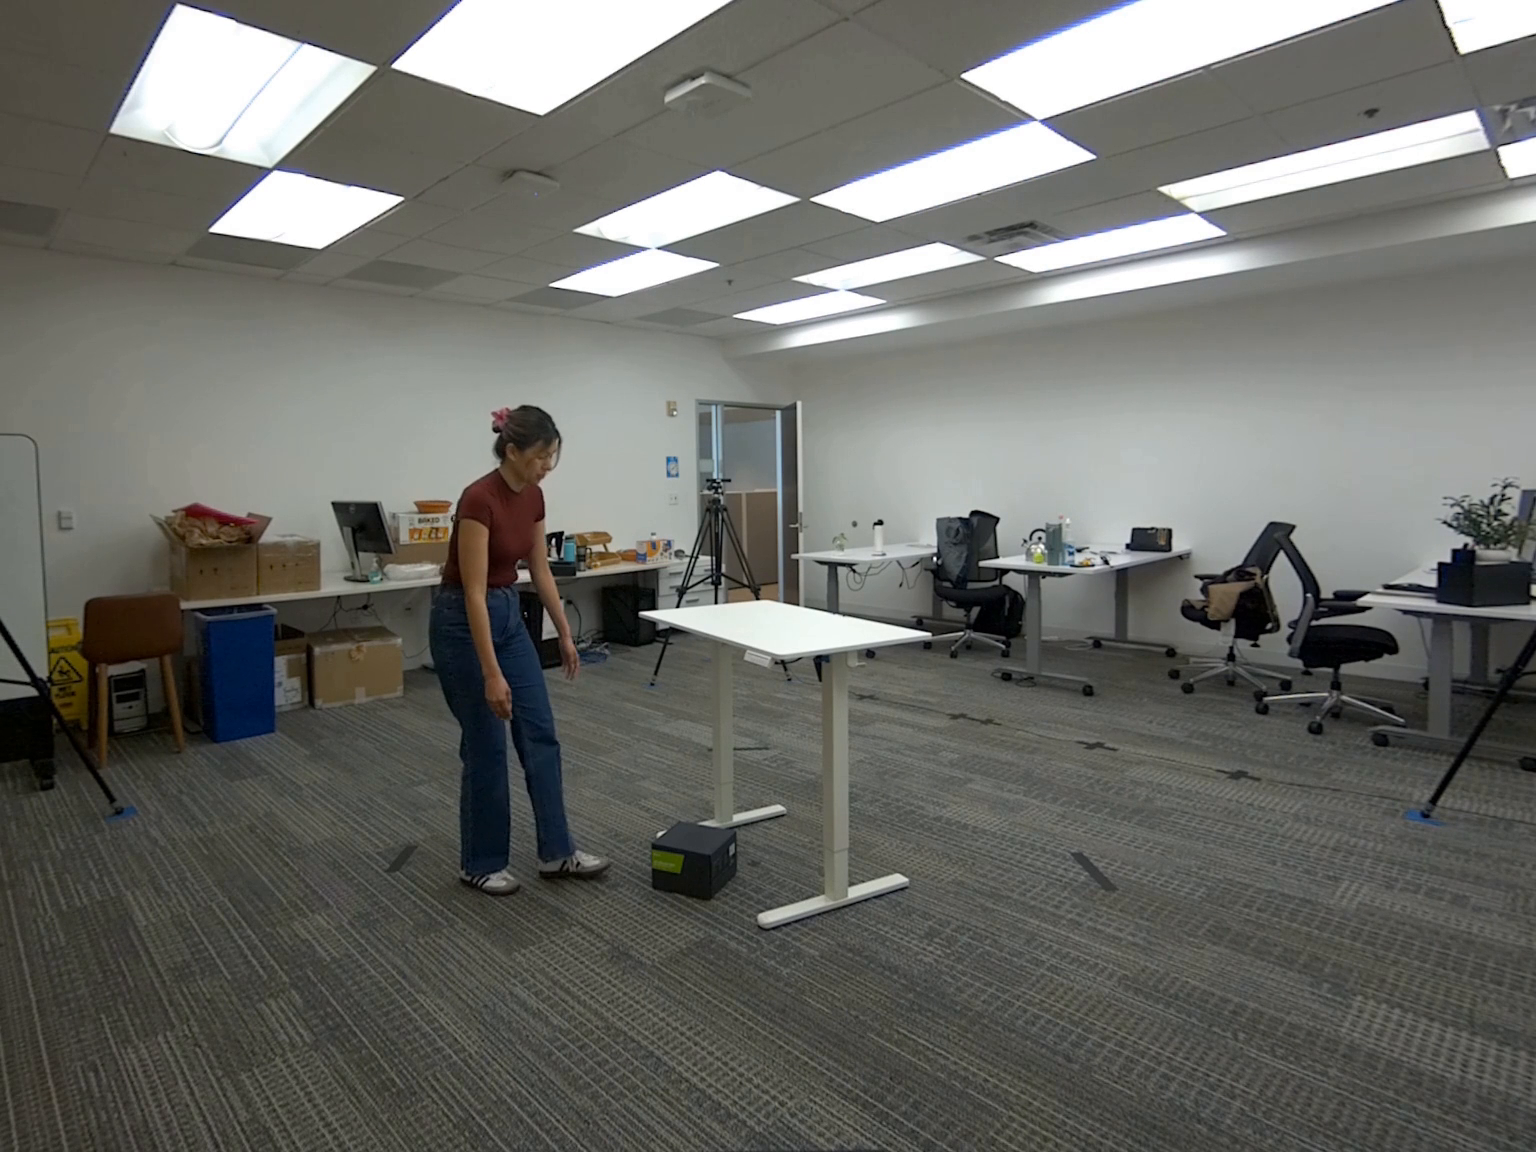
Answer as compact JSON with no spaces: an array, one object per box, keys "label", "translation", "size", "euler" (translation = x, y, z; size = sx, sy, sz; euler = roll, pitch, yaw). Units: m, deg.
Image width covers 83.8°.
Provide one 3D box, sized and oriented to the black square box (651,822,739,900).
[{"label":"black square box","translation":[-0.255,0.972,2.974],"size":[0.233,0.155,0.213],"euler":[2,7,23]}]
